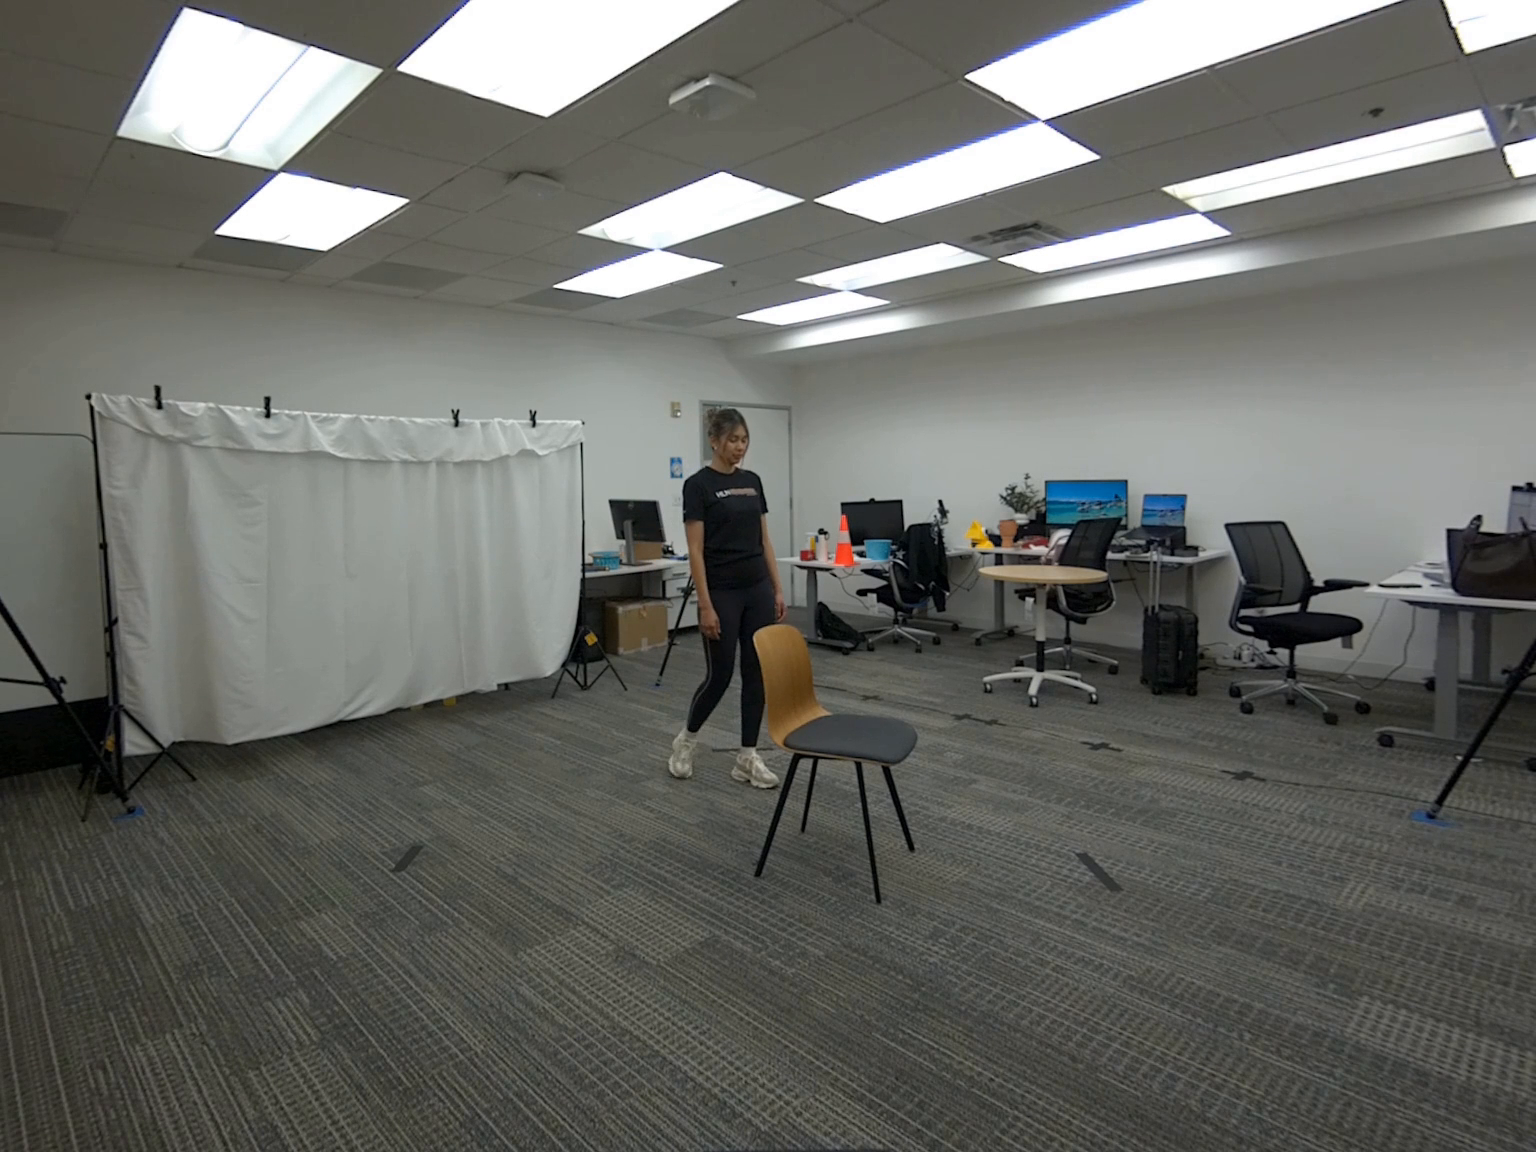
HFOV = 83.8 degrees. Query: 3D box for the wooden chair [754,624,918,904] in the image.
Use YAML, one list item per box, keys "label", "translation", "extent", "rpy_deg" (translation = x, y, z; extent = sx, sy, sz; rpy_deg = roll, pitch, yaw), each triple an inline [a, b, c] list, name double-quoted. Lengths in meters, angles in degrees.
- label: "wooden chair"
  translation: [0.254, 0.619, 3.064]
  extent: [0.535, 0.876, 0.468]
  rpy_deg: [-4, 2, 26]
